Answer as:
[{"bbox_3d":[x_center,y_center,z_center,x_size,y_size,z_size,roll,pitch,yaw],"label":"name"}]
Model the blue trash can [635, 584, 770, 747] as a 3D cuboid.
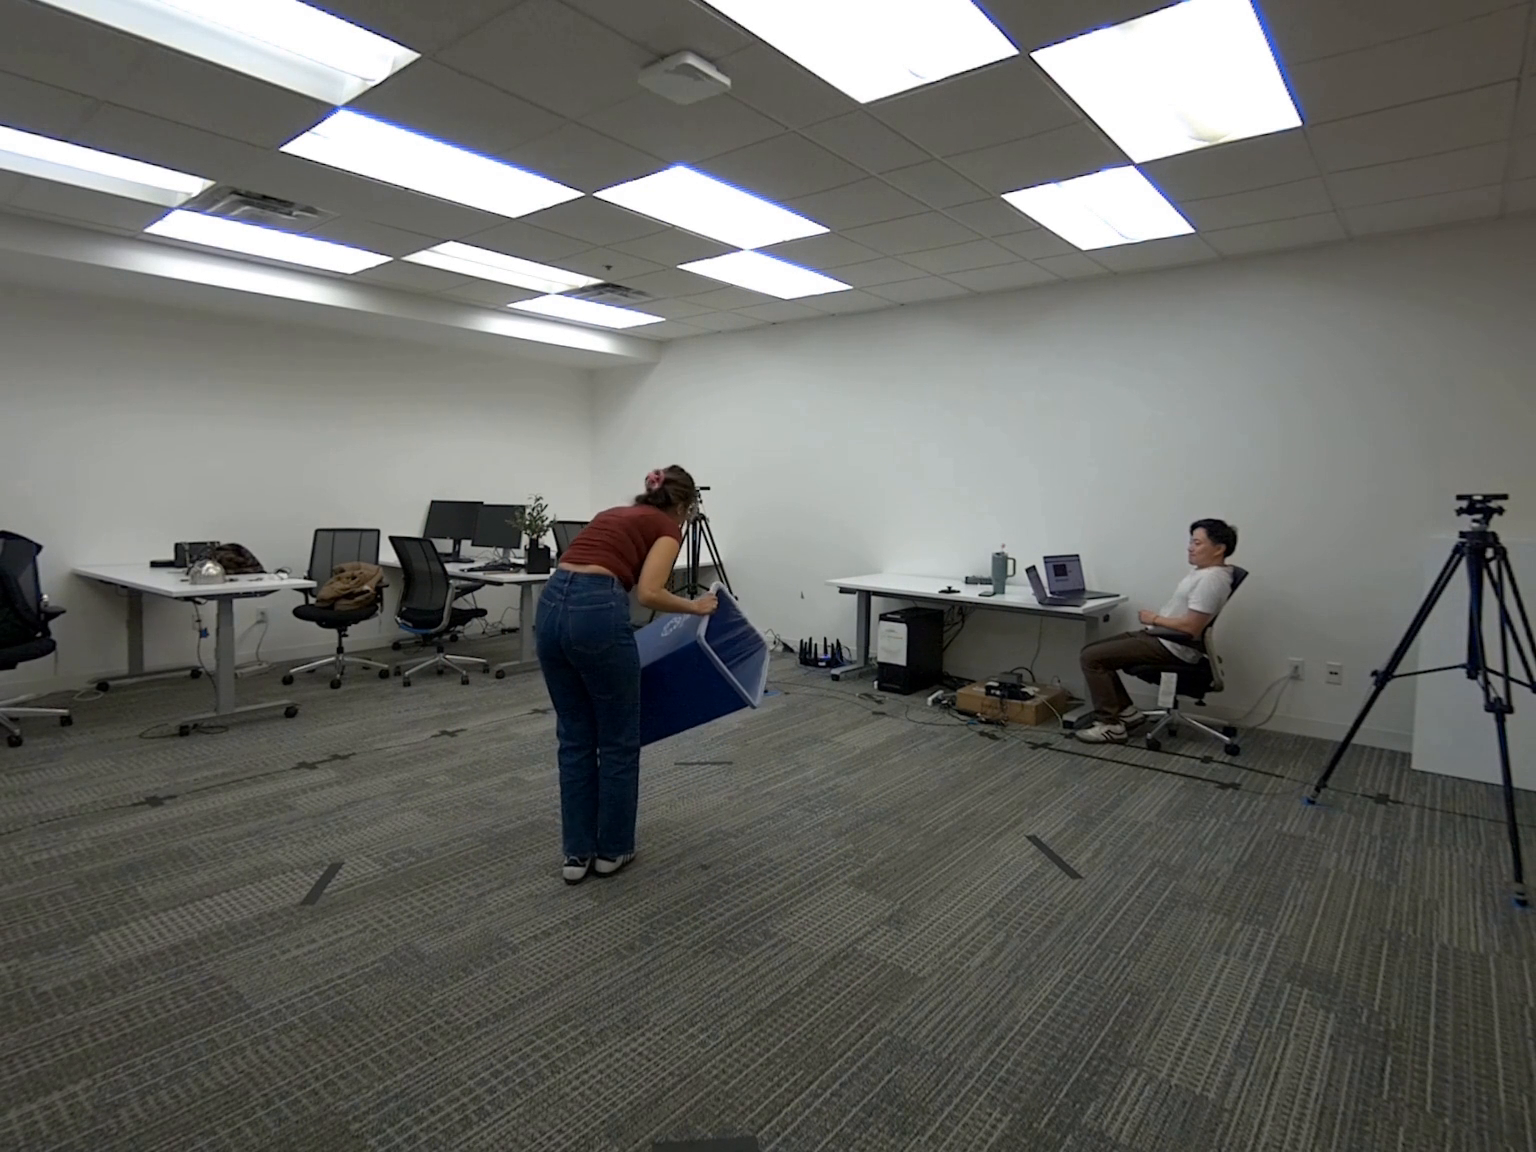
[{"bbox_3d":[-0.400,0.397,3.285,0.721,0.367,0.381,-28,24,24],"label":"blue trash can"}]
